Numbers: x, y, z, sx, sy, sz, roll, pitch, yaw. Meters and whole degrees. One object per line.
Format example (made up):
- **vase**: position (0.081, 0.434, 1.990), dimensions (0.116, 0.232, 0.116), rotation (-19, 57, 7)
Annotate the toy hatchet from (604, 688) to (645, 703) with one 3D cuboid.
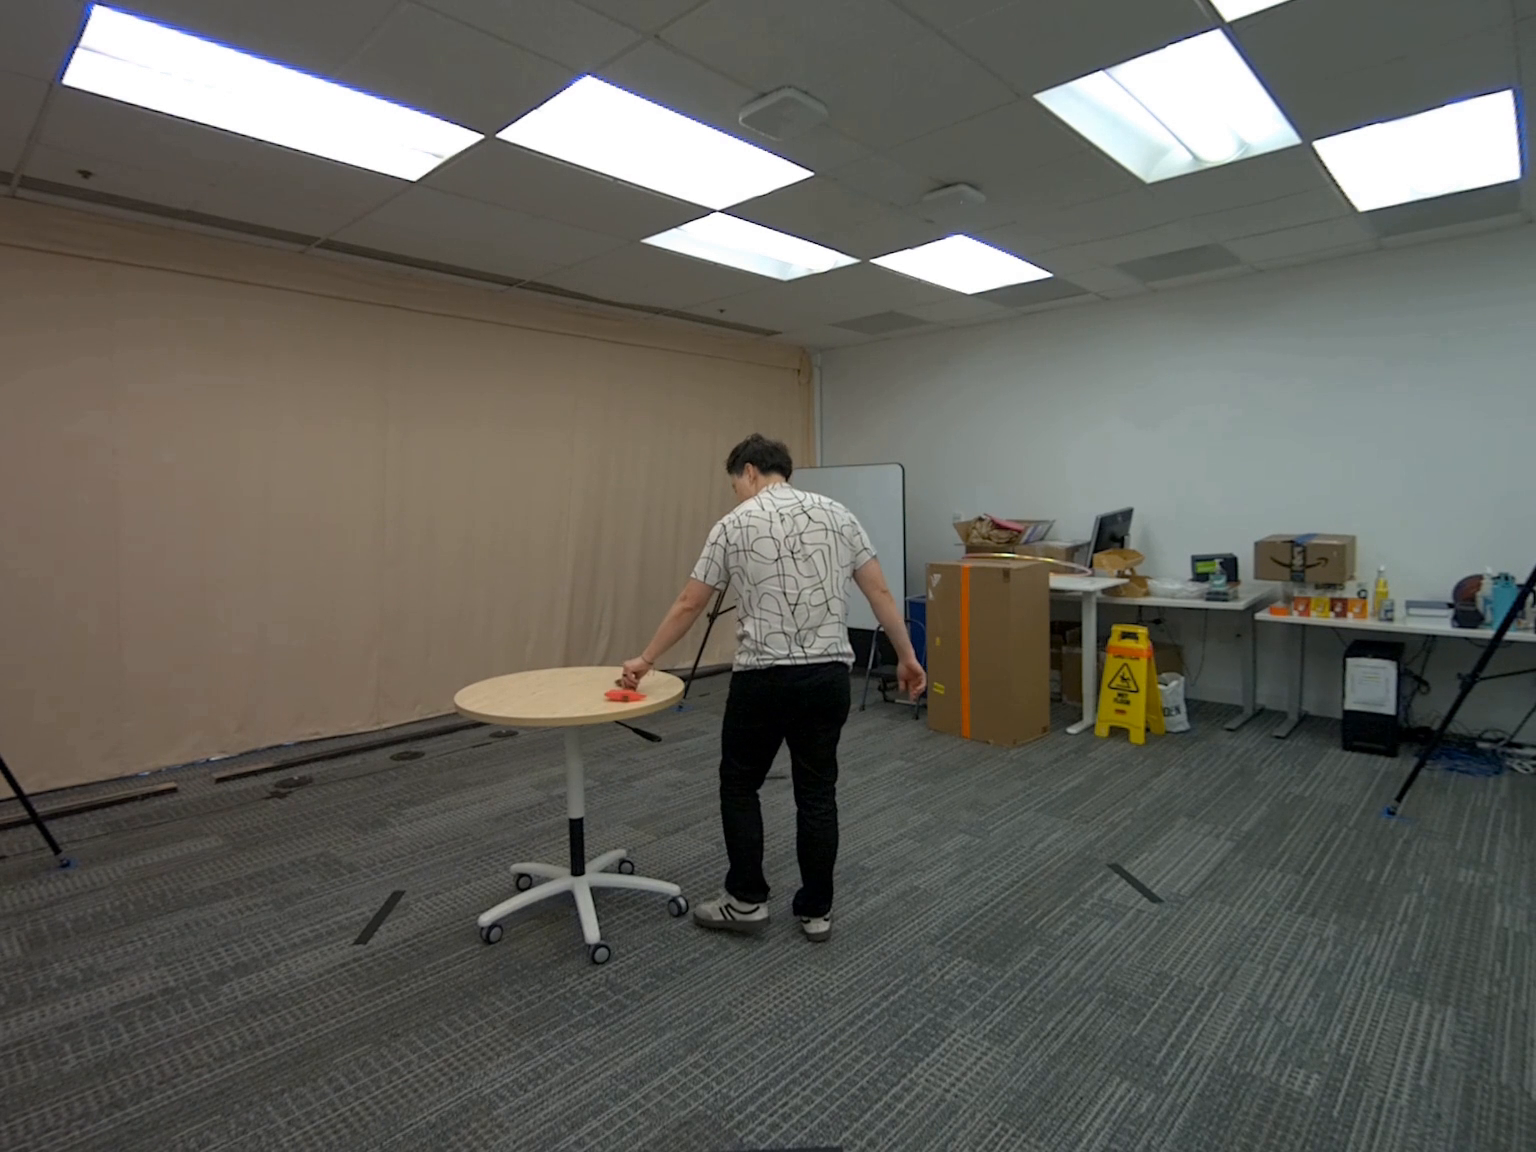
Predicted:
- **toy hatchet**: position (-0.491, 0.378, 2.757), dimensions (0.128, 0.029, 0.276), rotation (1, 3, -23)
